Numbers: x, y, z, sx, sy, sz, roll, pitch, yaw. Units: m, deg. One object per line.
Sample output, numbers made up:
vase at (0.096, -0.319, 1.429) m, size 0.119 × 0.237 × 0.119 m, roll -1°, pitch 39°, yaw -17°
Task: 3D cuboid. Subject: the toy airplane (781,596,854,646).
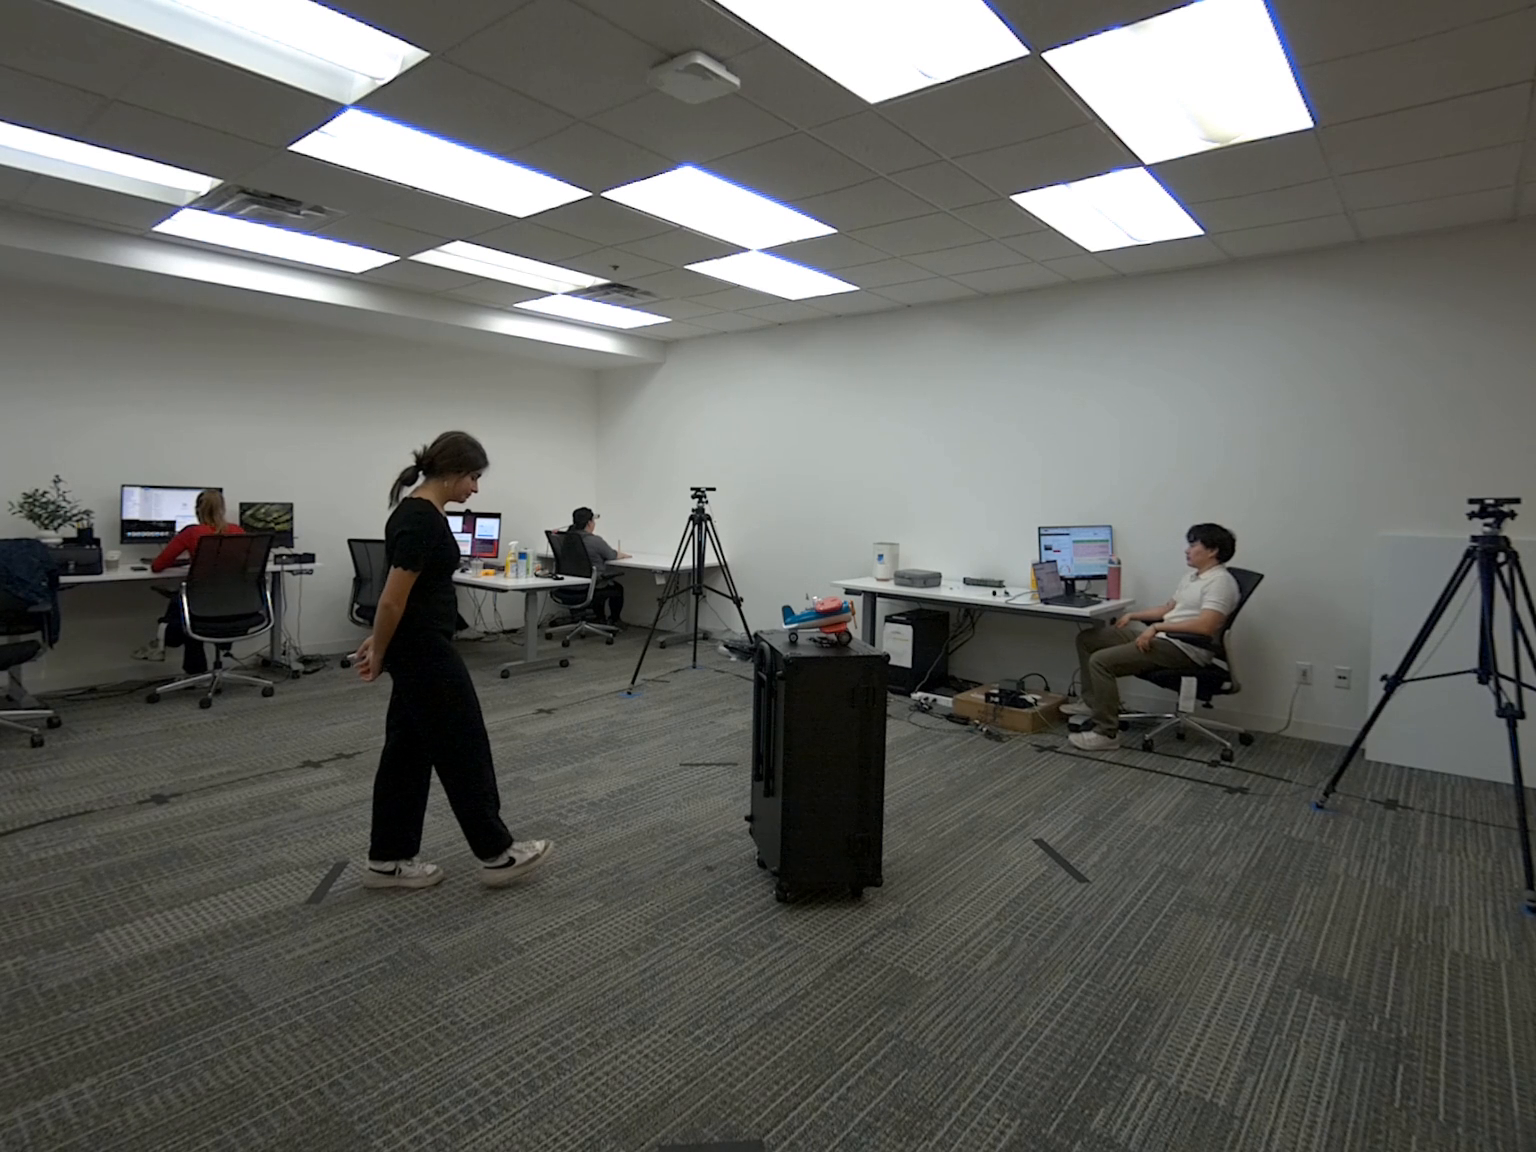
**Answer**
toy airplane at (0.175, 0.160, 2.999) m, size 0.252 × 0.156 × 0.258 m, roll 0°, pitch 3°, yaw -28°
